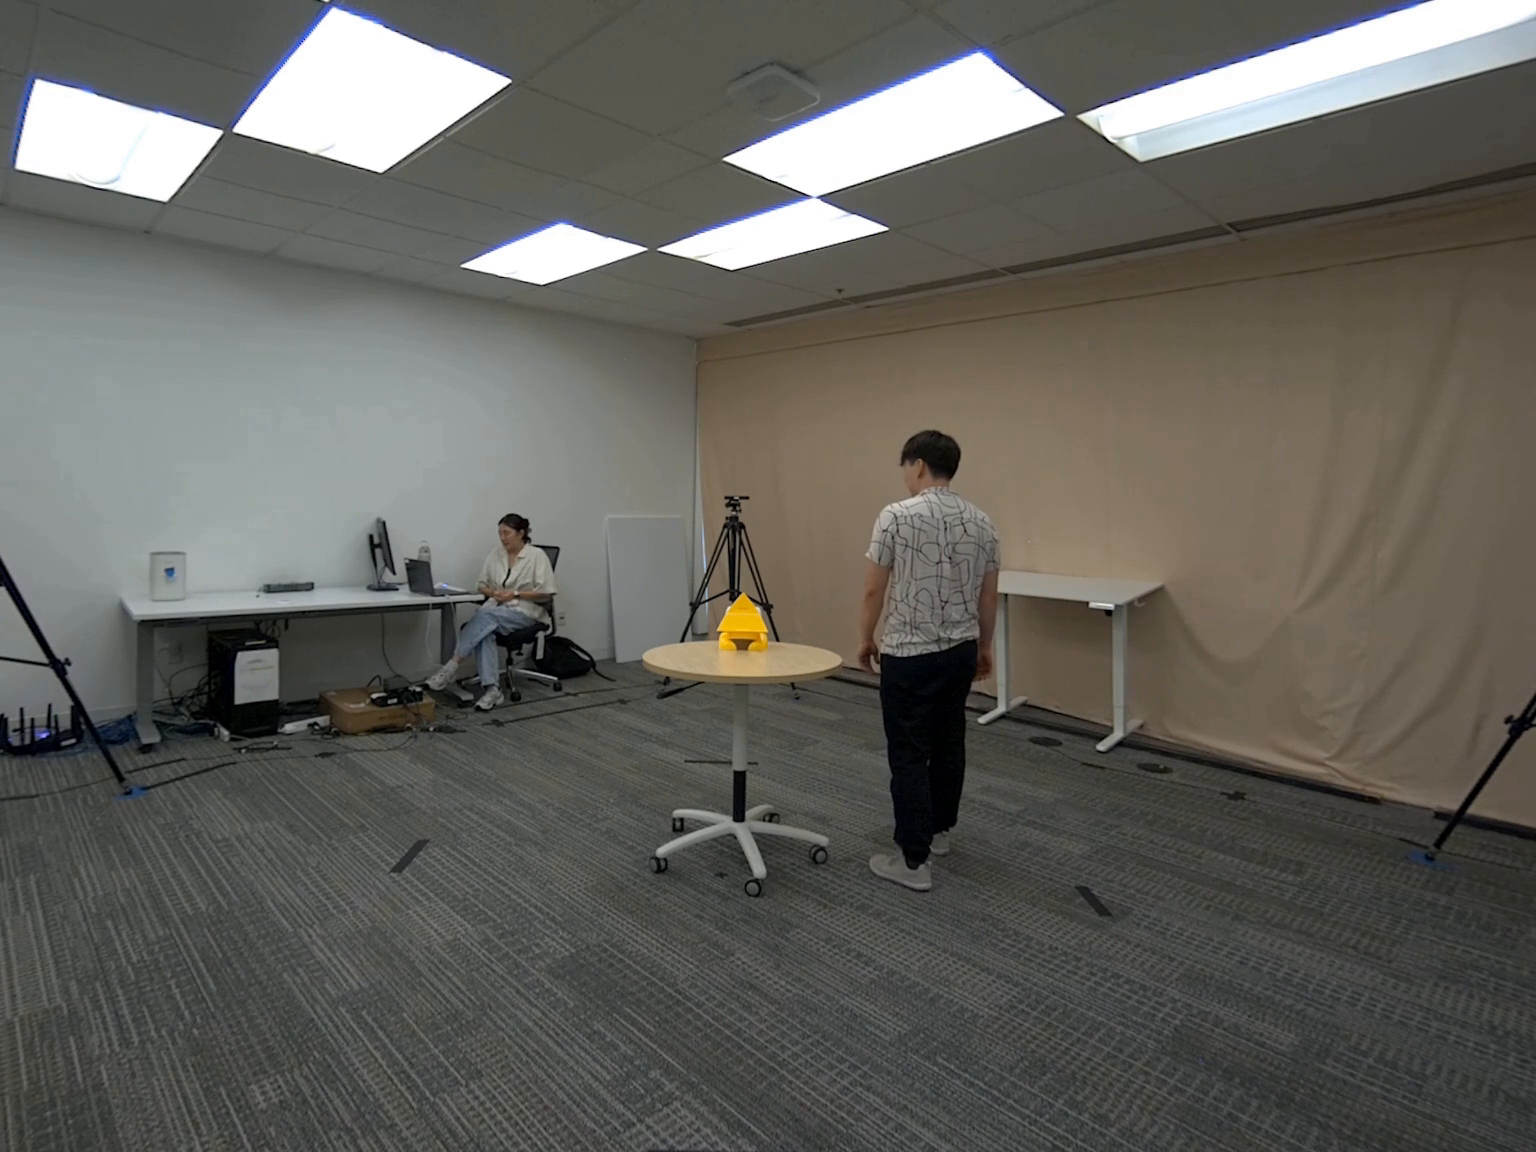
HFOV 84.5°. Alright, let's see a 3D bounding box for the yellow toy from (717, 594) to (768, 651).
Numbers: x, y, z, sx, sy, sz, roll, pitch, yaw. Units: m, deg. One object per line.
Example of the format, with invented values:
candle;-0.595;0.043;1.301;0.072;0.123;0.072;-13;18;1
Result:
yellow toy;-0.102;0.175;3.440;0.205;0.230;0.193;1;6;2
